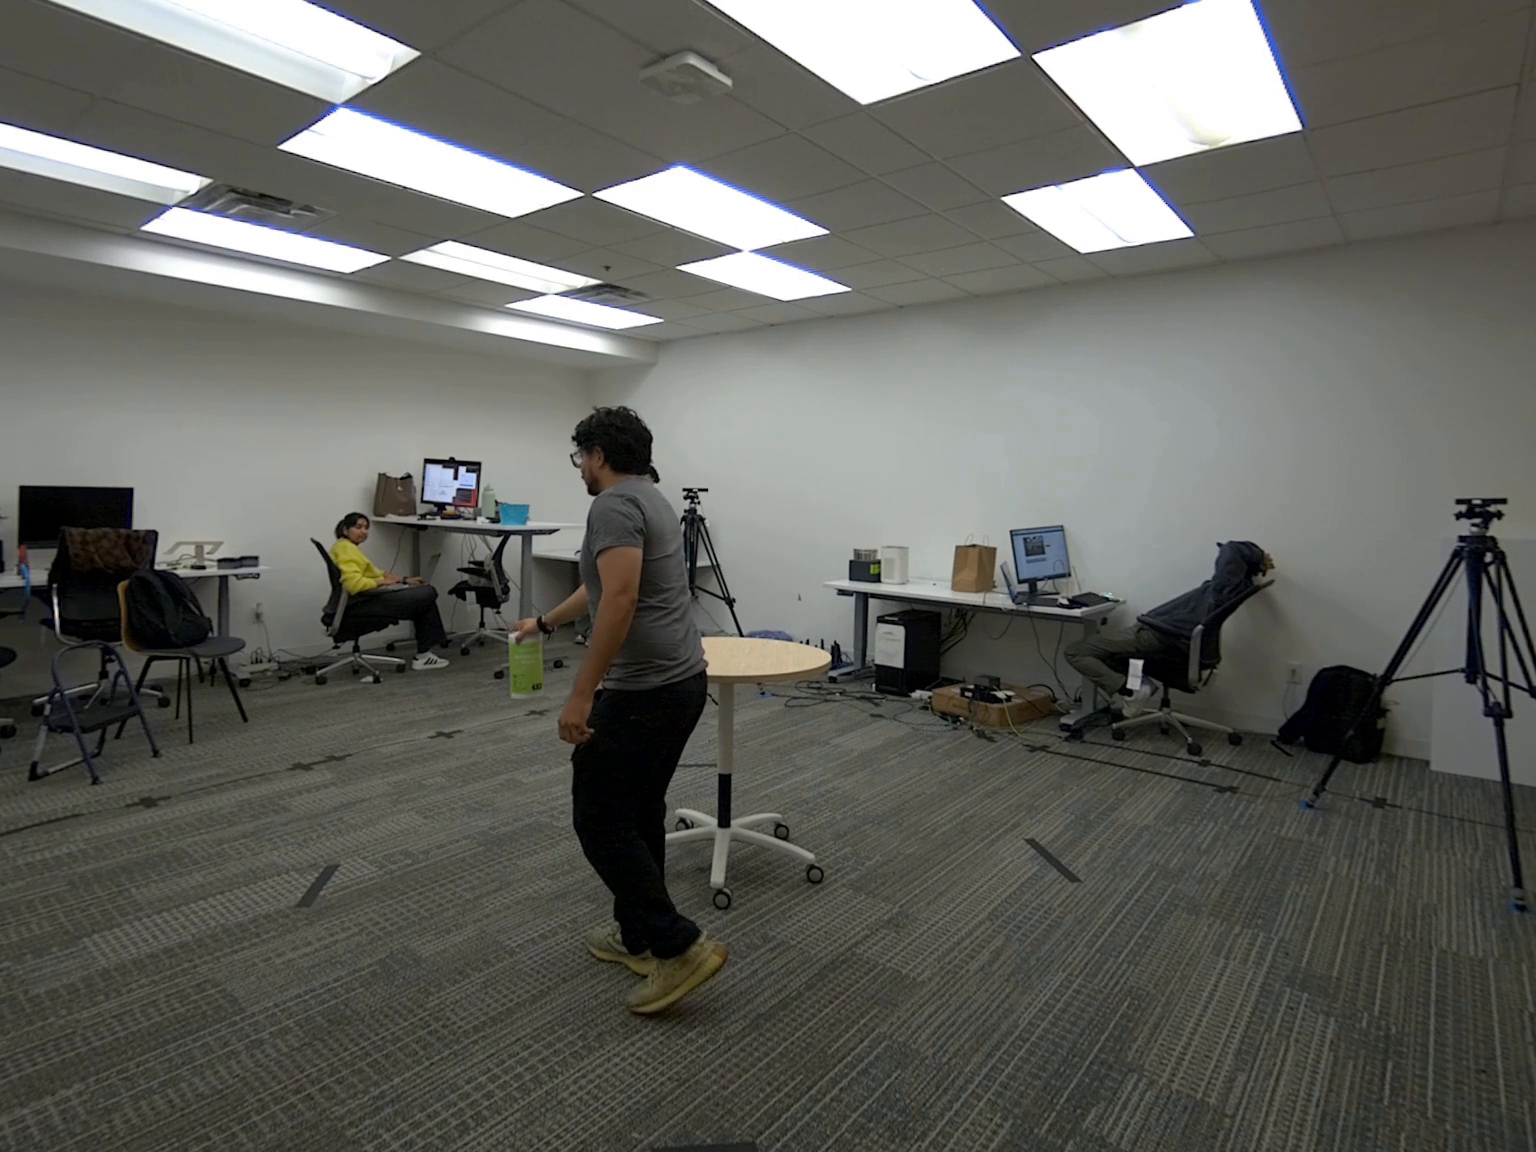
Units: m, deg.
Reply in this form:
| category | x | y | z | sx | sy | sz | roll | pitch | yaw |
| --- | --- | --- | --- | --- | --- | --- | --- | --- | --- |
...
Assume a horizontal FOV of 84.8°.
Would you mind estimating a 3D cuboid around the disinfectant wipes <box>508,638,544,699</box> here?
| category | x | y | z | sx | sy | sz | roll | pitch | yaw |
| --- | --- | --- | --- | --- | --- | --- | --- | --- | --- |
| disinfectant wipes | -0.822 | 0.298 | 2.828 | 0.118 | 0.217 | 0.118 | 0 | 2 | -2 |
